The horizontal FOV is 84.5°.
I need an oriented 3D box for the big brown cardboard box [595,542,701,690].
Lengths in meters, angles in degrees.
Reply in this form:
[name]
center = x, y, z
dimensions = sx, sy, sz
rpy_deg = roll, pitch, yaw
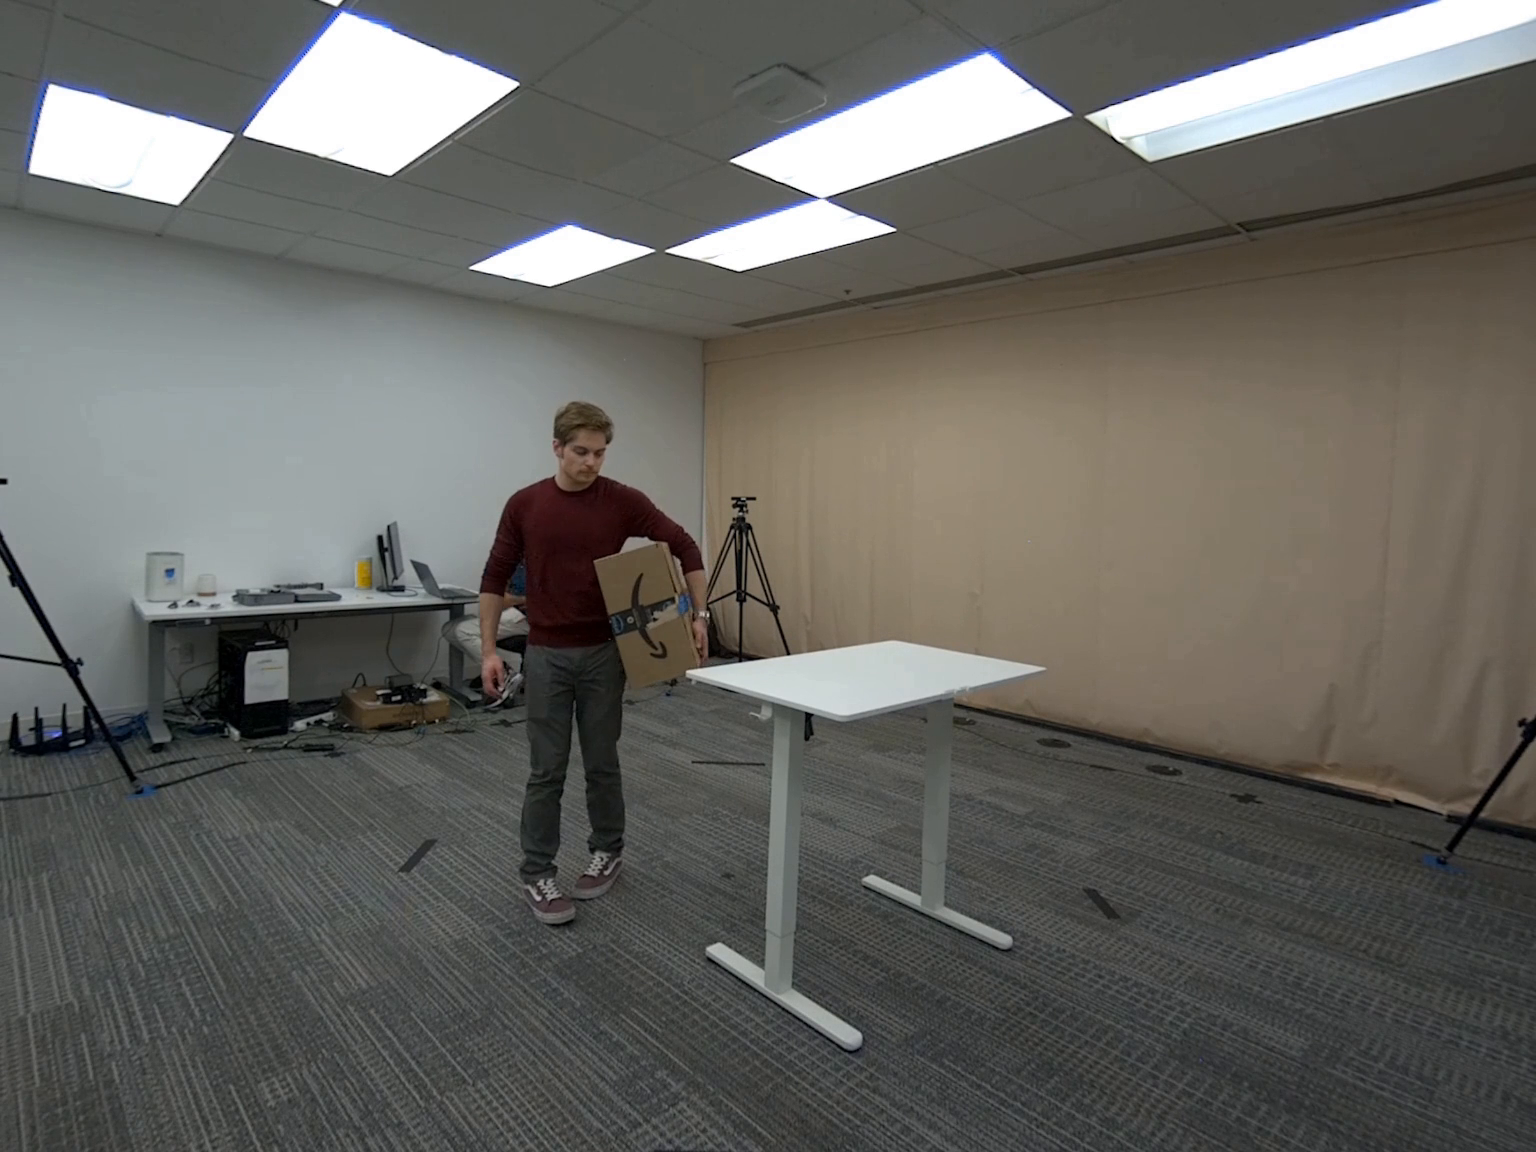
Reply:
[big brown cardboard box]
center = -0.390, 0.111, 2.838
dimensions = 0.233, 0.417, 0.589
rpy_deg = -15, 2, 0
